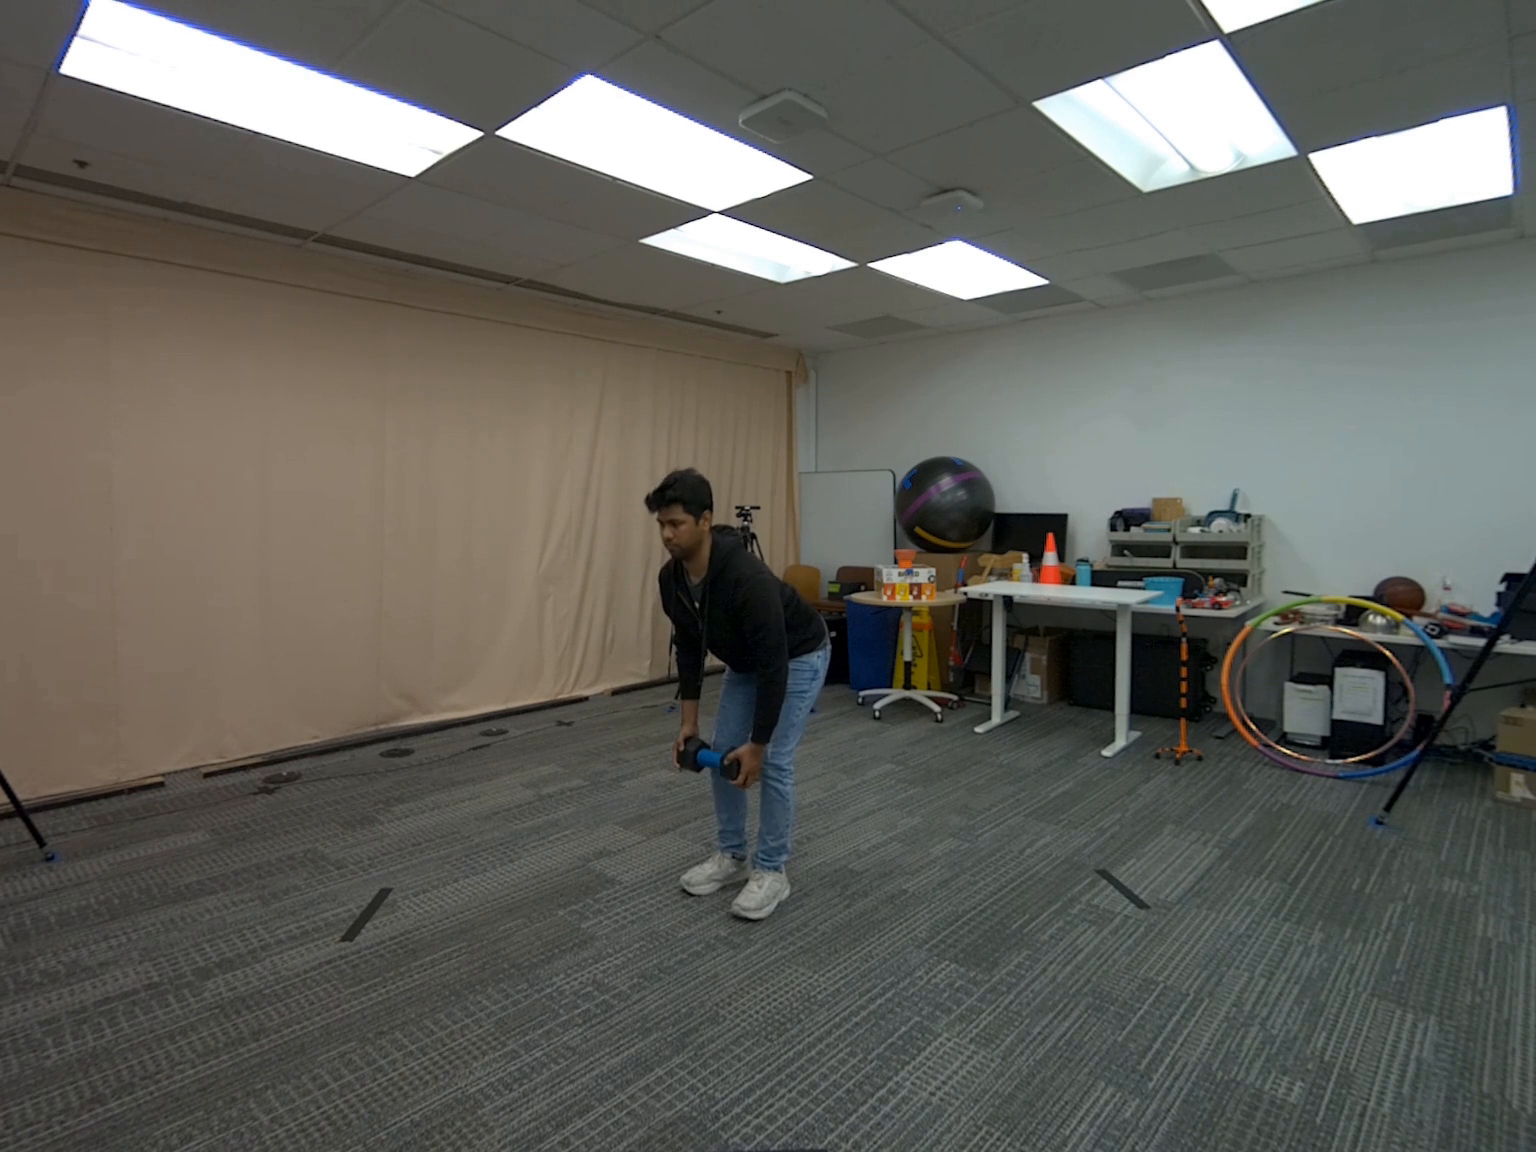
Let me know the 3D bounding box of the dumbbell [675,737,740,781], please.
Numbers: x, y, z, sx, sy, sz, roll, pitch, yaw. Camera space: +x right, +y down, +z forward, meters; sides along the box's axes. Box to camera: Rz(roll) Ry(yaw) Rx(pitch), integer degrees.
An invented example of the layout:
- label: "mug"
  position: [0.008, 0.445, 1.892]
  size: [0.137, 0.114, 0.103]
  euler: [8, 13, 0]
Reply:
- label: "dumbbell"
  position: [-0.171, 0.643, 2.921]
  size: [0.303, 0.109, 0.118]
  euler: [2, -27, 43]
